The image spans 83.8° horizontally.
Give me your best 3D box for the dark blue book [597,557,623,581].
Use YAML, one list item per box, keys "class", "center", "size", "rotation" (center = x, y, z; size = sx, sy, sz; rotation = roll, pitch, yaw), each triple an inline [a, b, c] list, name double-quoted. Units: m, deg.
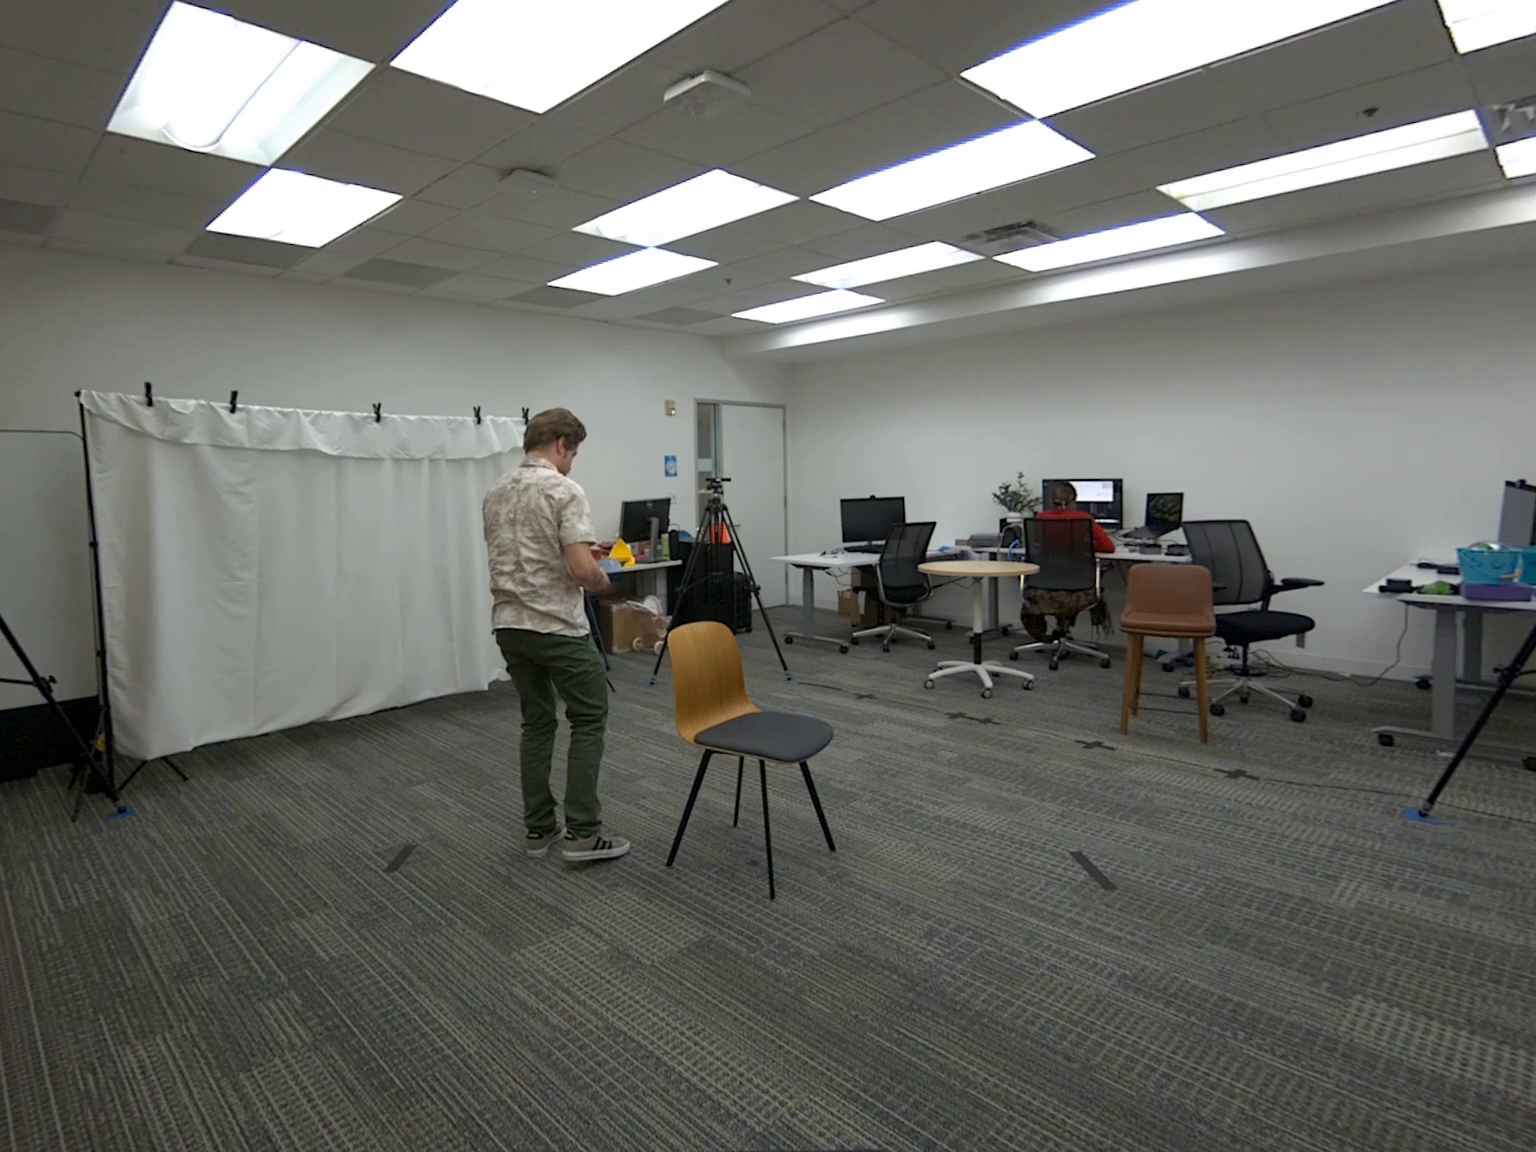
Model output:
- class: "dark blue book"
  center: [-0.719, -0.008, 3.460]
  size: [0.240, 0.044, 0.169]
  rotation: [-10, 22, -32]
